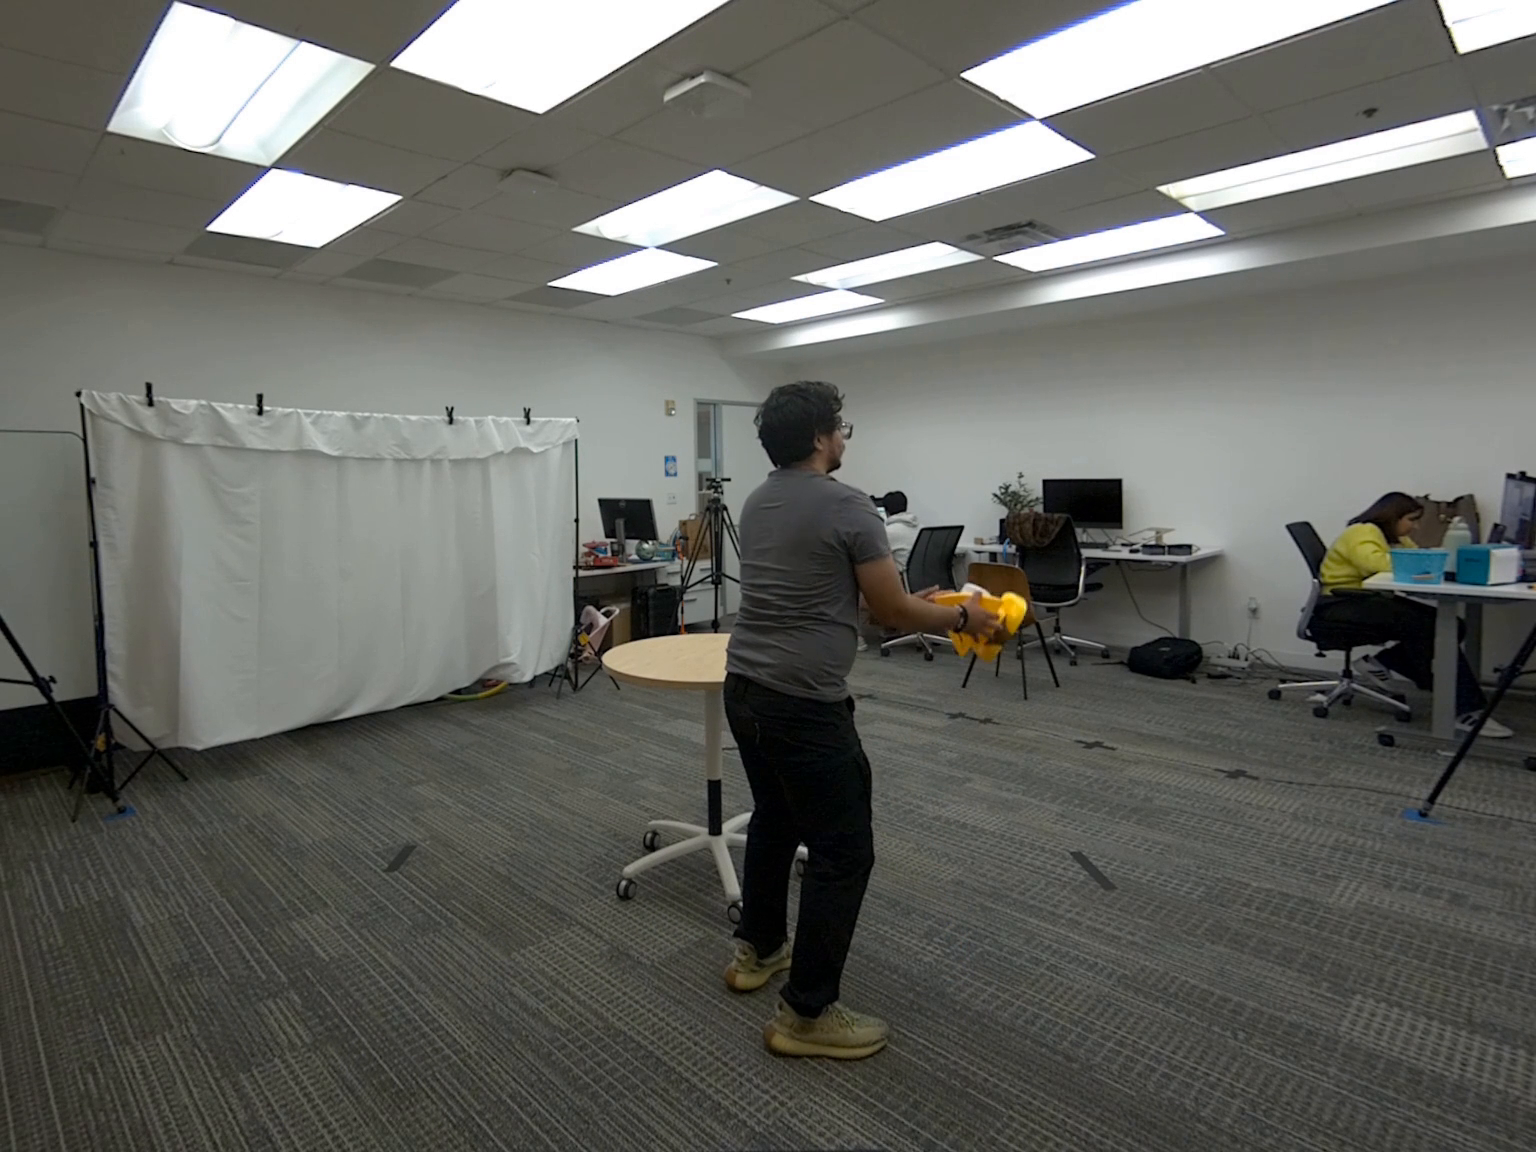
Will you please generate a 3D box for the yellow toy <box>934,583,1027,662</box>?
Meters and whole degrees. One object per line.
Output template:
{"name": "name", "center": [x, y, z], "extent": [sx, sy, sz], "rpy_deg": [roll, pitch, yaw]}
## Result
{"name": "yellow toy", "center": [0.568, 0.102, 2.410], "extent": [0.231, 0.203, 0.194], "rpy_deg": [30, 22, -1]}
